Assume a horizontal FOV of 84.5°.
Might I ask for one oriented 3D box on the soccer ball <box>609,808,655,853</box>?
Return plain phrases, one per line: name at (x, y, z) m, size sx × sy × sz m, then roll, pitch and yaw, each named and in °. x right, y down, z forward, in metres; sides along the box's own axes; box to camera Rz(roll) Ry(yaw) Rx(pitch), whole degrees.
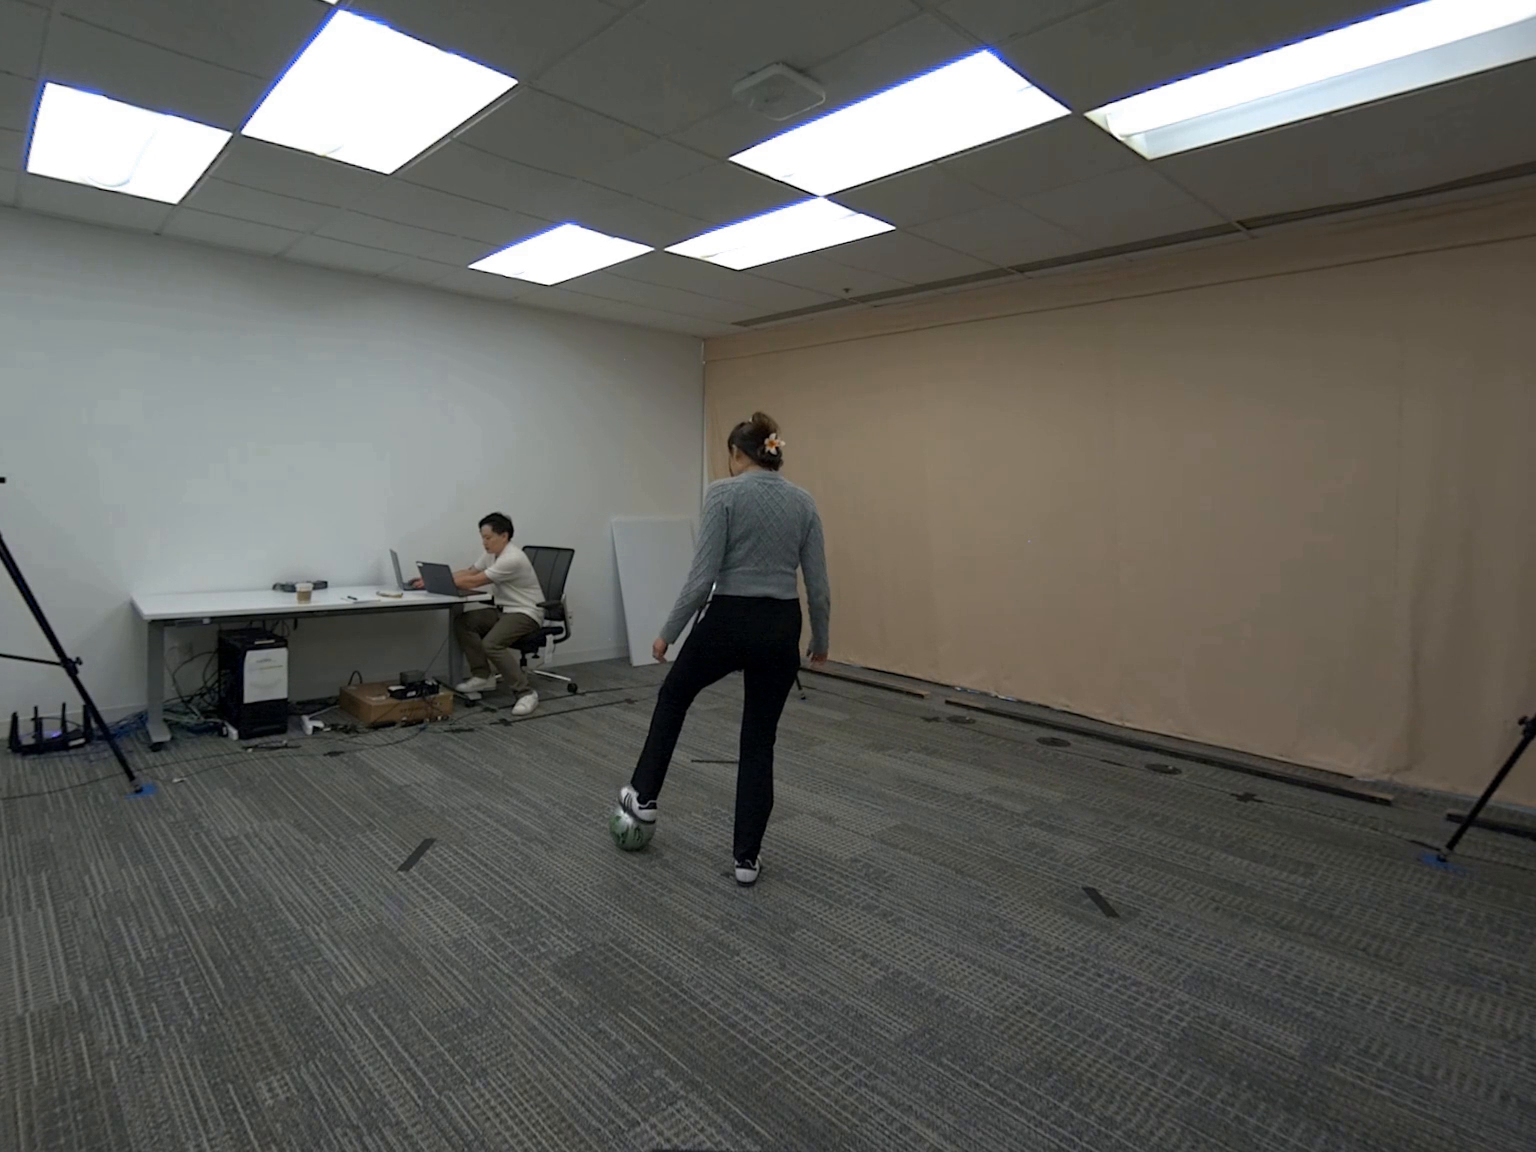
soccer ball at (-0.541, 0.984, 3.320) m, size 0.187 × 0.187 × 0.188 m, roll 1°, pitch 4°, yaw -1°
